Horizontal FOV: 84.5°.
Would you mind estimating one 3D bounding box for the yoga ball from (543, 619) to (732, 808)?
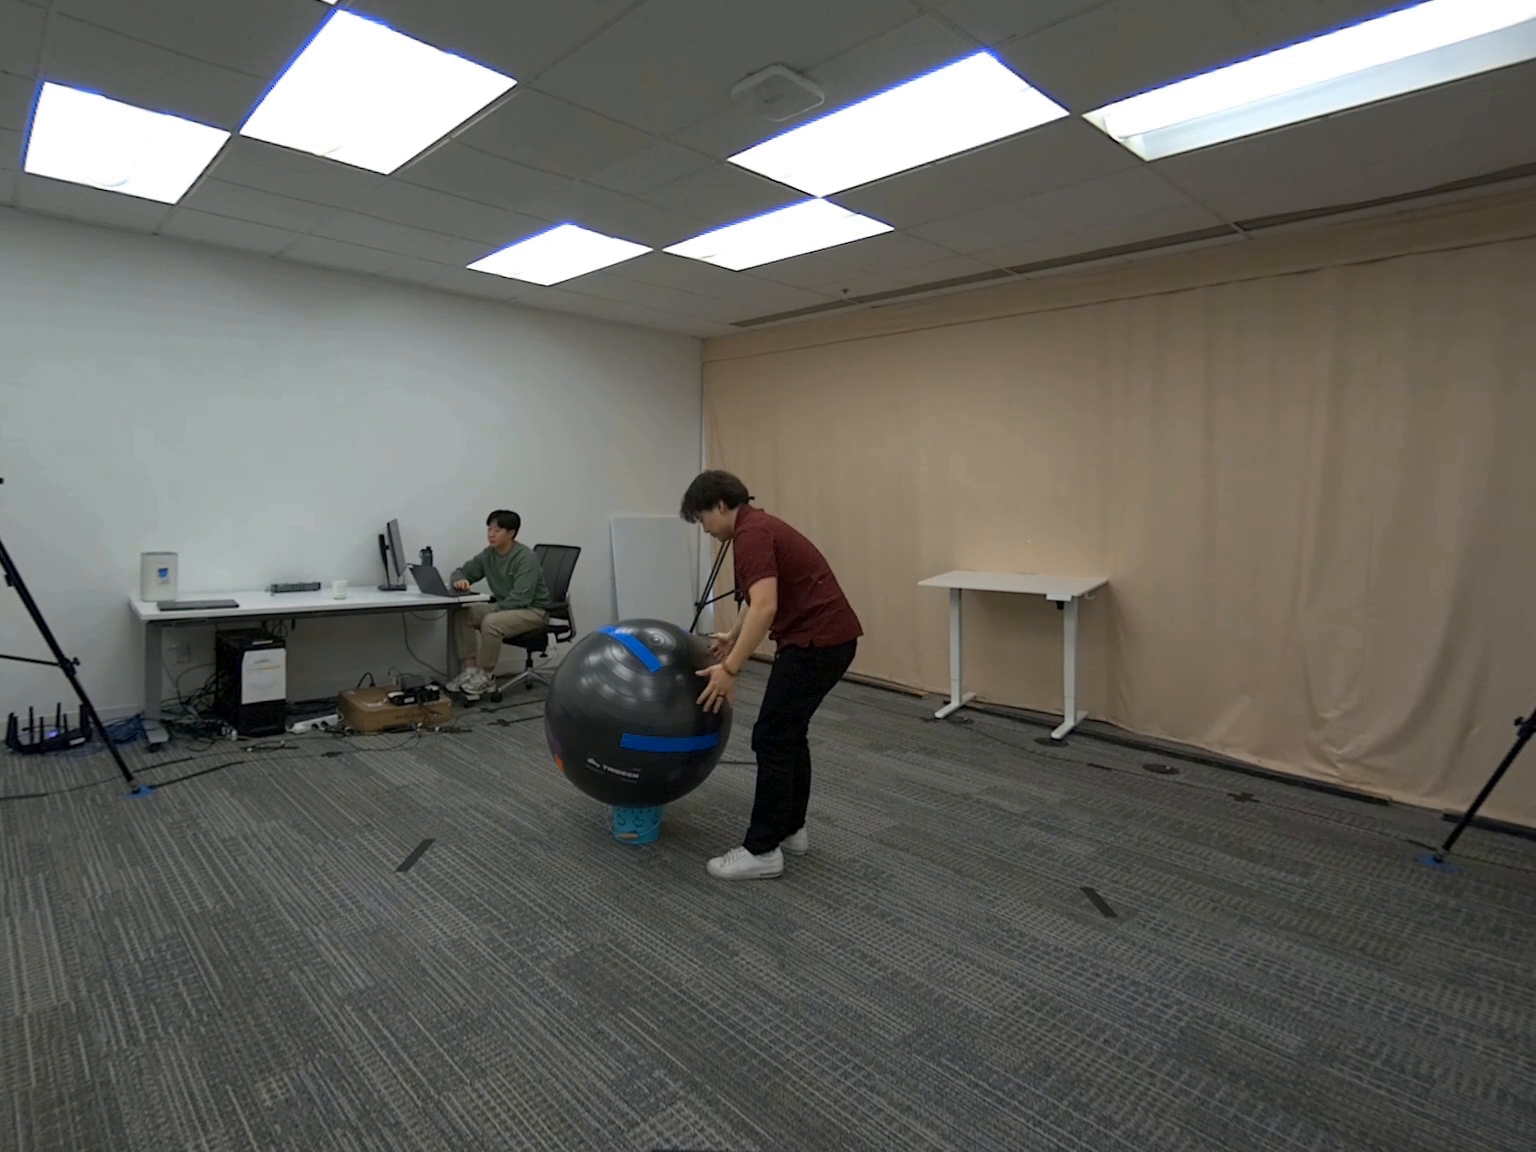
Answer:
[{"bbox_3d":[-0.528,0.559,3.437,0.757,0.756,0.761,1,4,-1],"label":"yoga ball"}]
